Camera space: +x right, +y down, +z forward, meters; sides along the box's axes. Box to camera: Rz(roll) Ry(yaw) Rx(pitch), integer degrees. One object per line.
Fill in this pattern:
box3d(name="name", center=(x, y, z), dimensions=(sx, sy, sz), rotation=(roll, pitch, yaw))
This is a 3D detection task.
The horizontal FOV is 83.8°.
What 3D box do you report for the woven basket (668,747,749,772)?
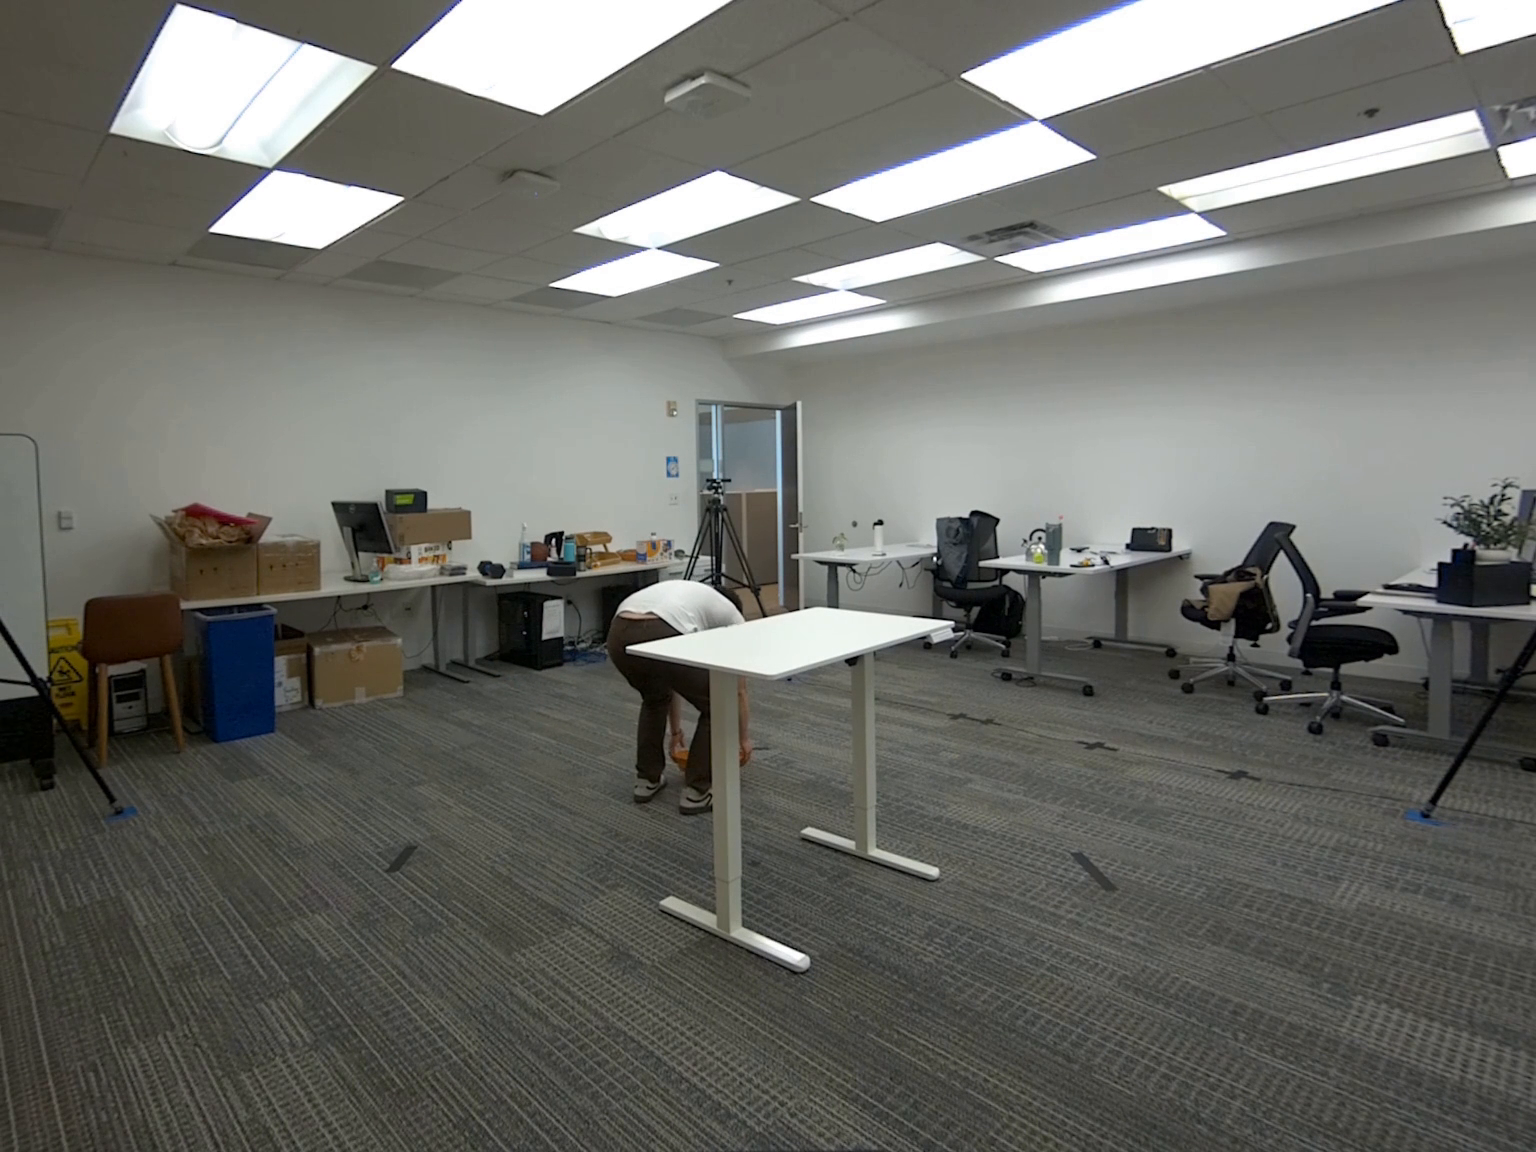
box3d(name="woven basket", center=(-0.266, 0.853, 3.976), dimensions=(0.351, 0.073, 0.252), rotation=(0, 3, 2))
